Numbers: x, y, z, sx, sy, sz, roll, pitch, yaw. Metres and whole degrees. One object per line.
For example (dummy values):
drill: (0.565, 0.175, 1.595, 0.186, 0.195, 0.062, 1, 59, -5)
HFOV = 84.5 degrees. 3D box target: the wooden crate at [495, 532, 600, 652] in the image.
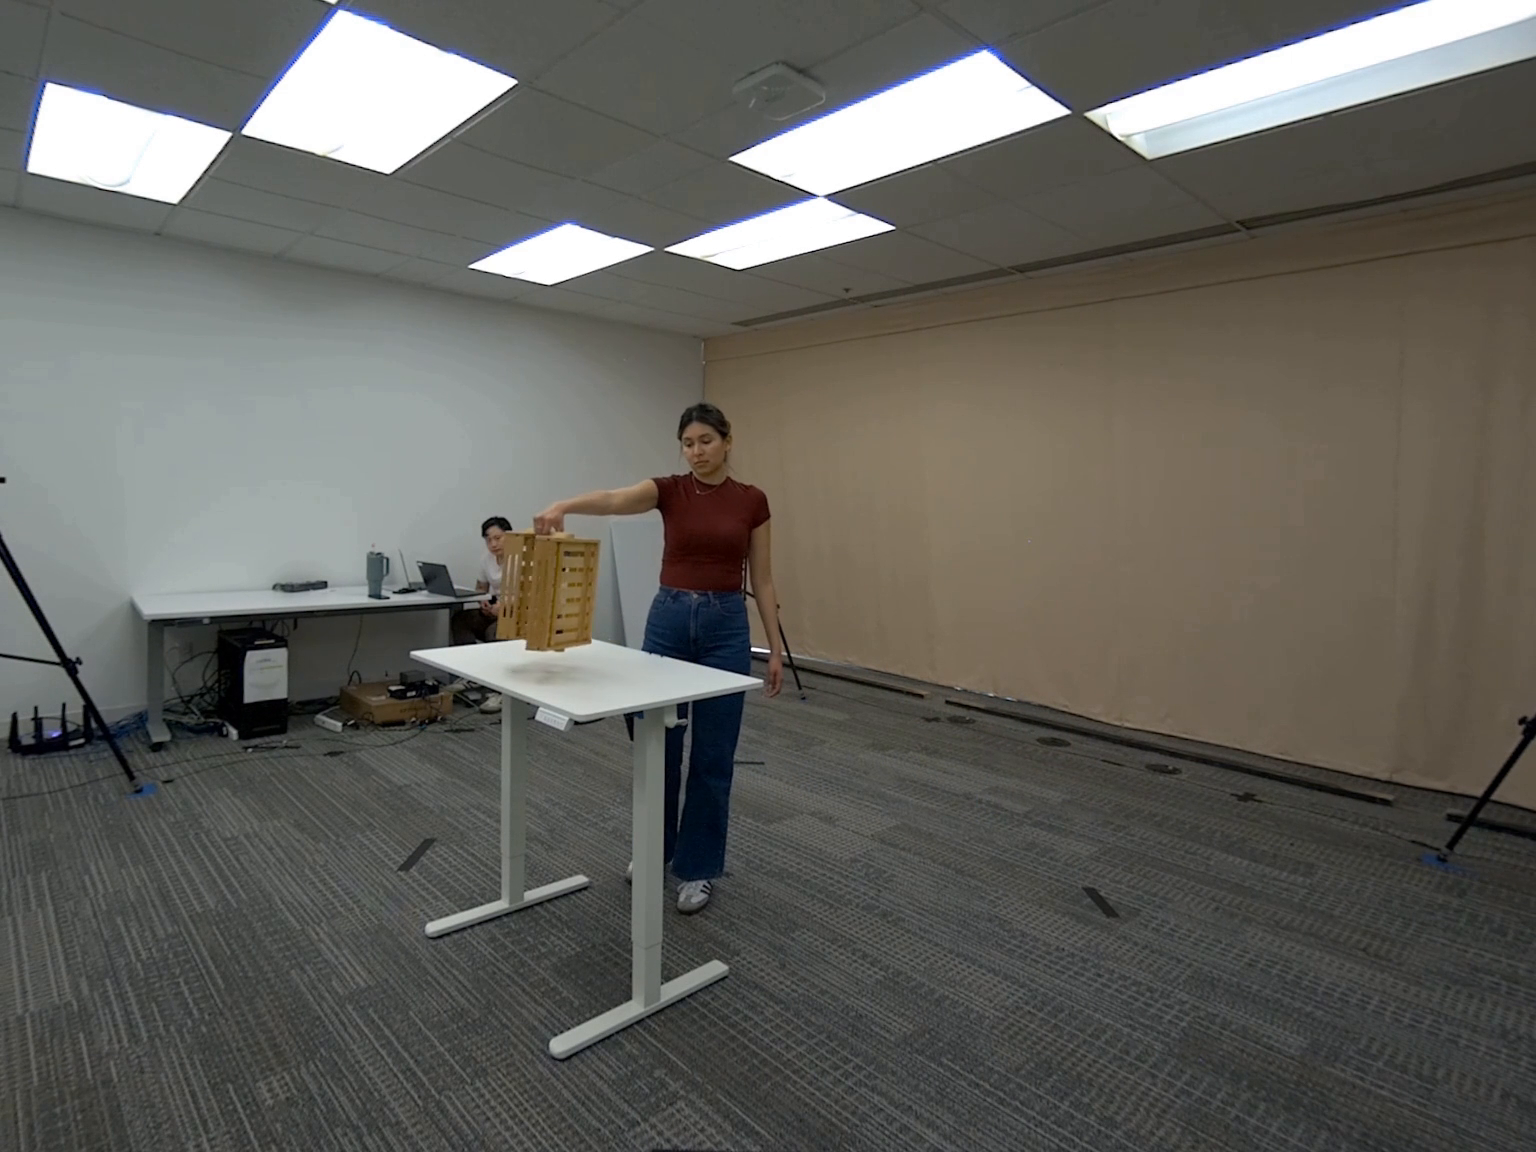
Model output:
wooden crate: (-0.661, 0.038, 2.374, 0.278, 0.324, 0.297, 6, 3, 21)
